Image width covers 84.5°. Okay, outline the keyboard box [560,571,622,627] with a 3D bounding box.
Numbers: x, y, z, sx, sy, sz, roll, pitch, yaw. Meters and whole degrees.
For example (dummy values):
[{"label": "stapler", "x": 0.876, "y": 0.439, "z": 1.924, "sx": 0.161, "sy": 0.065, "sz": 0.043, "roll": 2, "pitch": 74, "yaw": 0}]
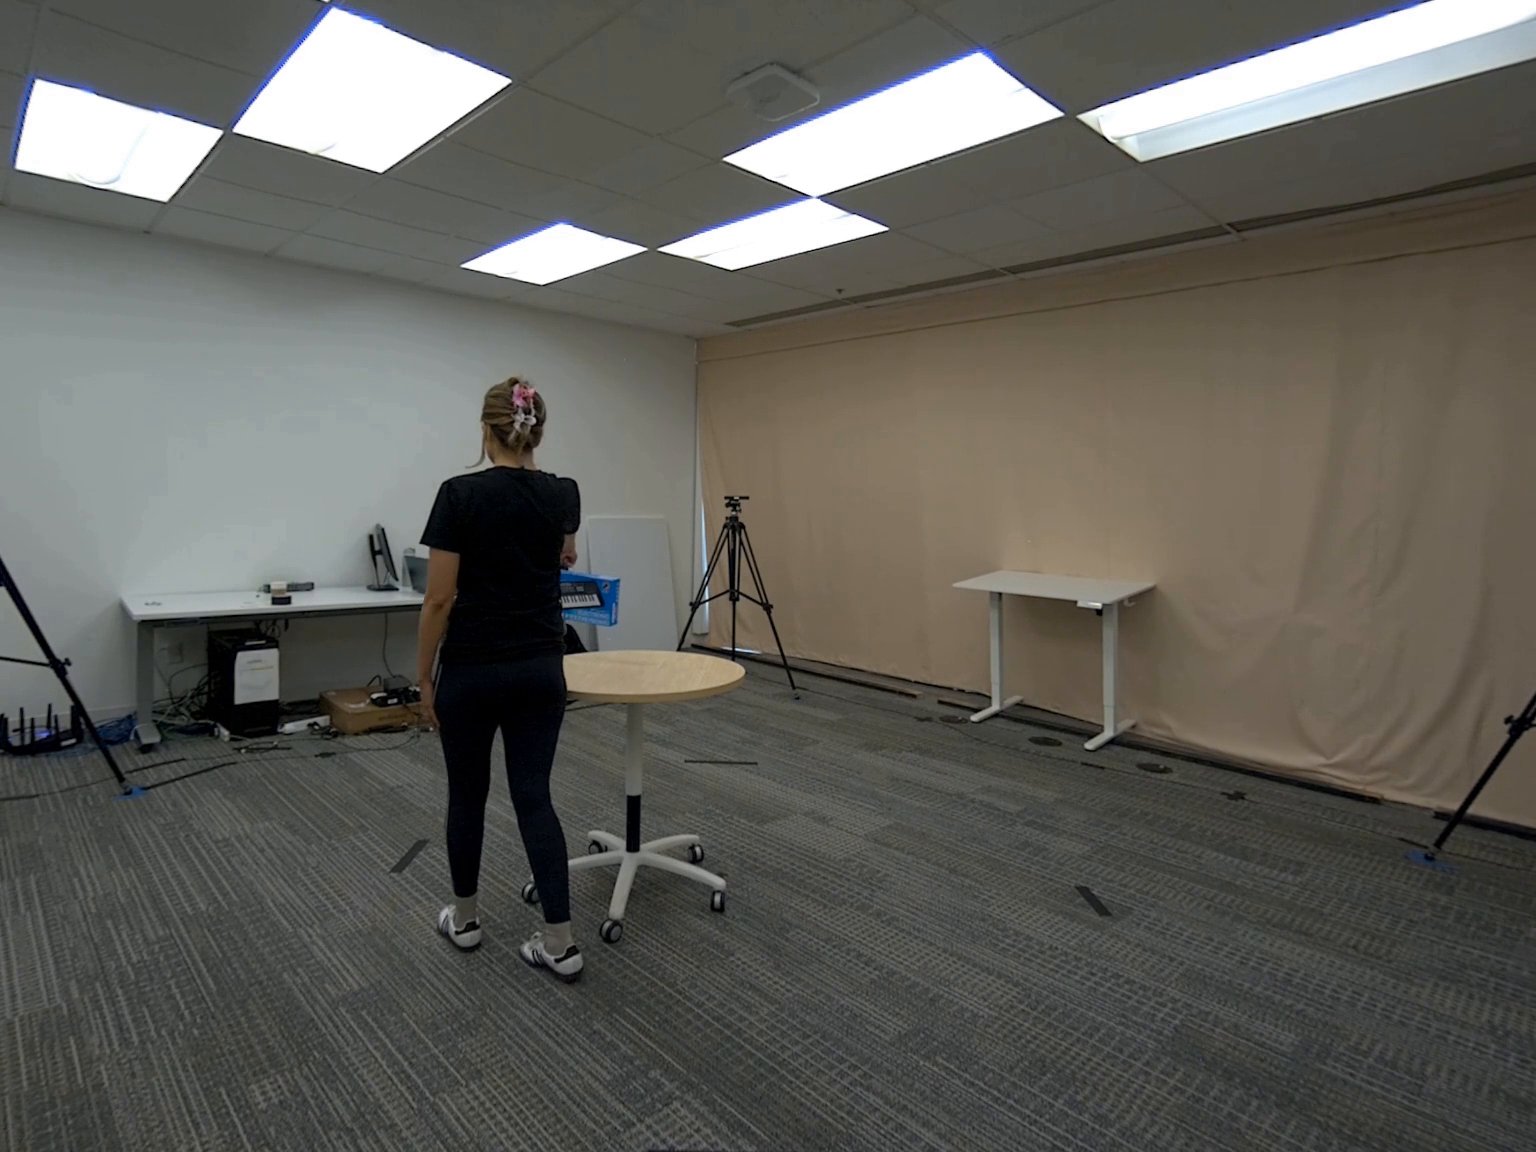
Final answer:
[{"label": "keyboard box", "x": -0.763, "y": 0.071, "z": 3.121, "sx": 0.444, "sy": 0.175, "sz": 0.058, "roll": 8, "pitch": 8, "yaw": 19}]
